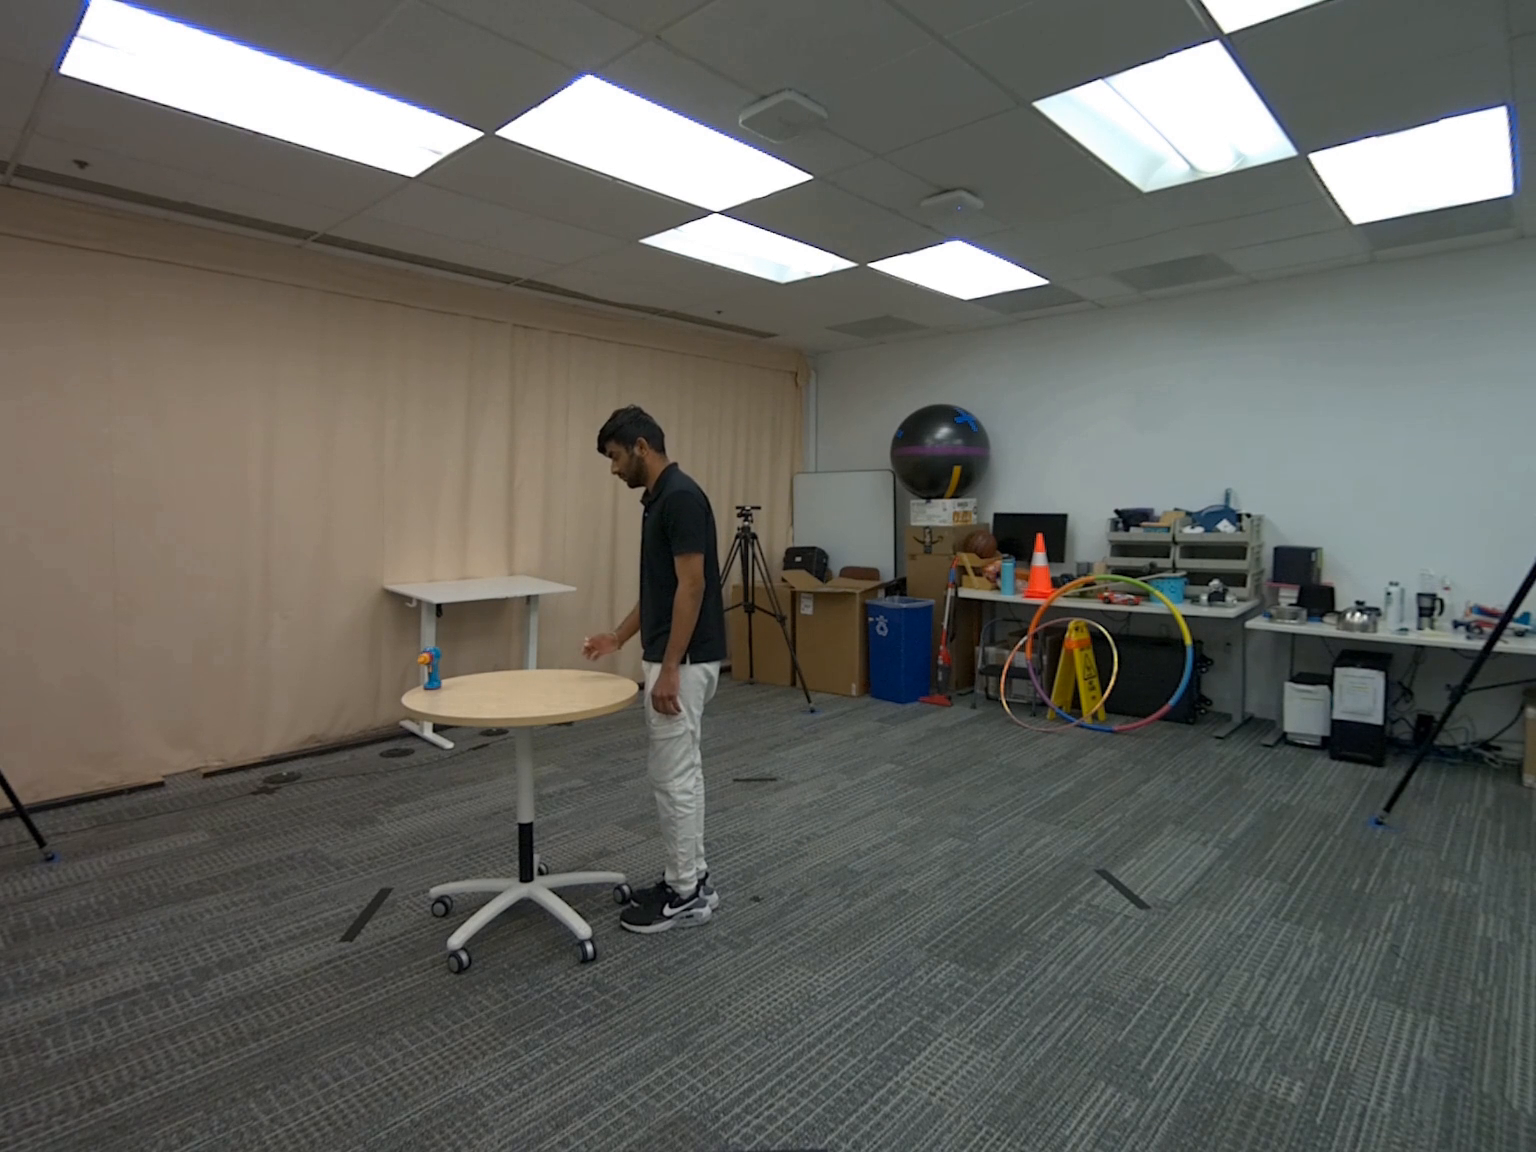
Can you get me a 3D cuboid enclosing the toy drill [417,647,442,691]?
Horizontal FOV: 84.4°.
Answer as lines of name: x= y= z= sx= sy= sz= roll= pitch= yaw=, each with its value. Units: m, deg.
toy drill: x=-1.133 y=0.313 z=2.812 sx=0.061 sy=0.146 sz=0.170 roll=1 pitch=4 yaw=-2
